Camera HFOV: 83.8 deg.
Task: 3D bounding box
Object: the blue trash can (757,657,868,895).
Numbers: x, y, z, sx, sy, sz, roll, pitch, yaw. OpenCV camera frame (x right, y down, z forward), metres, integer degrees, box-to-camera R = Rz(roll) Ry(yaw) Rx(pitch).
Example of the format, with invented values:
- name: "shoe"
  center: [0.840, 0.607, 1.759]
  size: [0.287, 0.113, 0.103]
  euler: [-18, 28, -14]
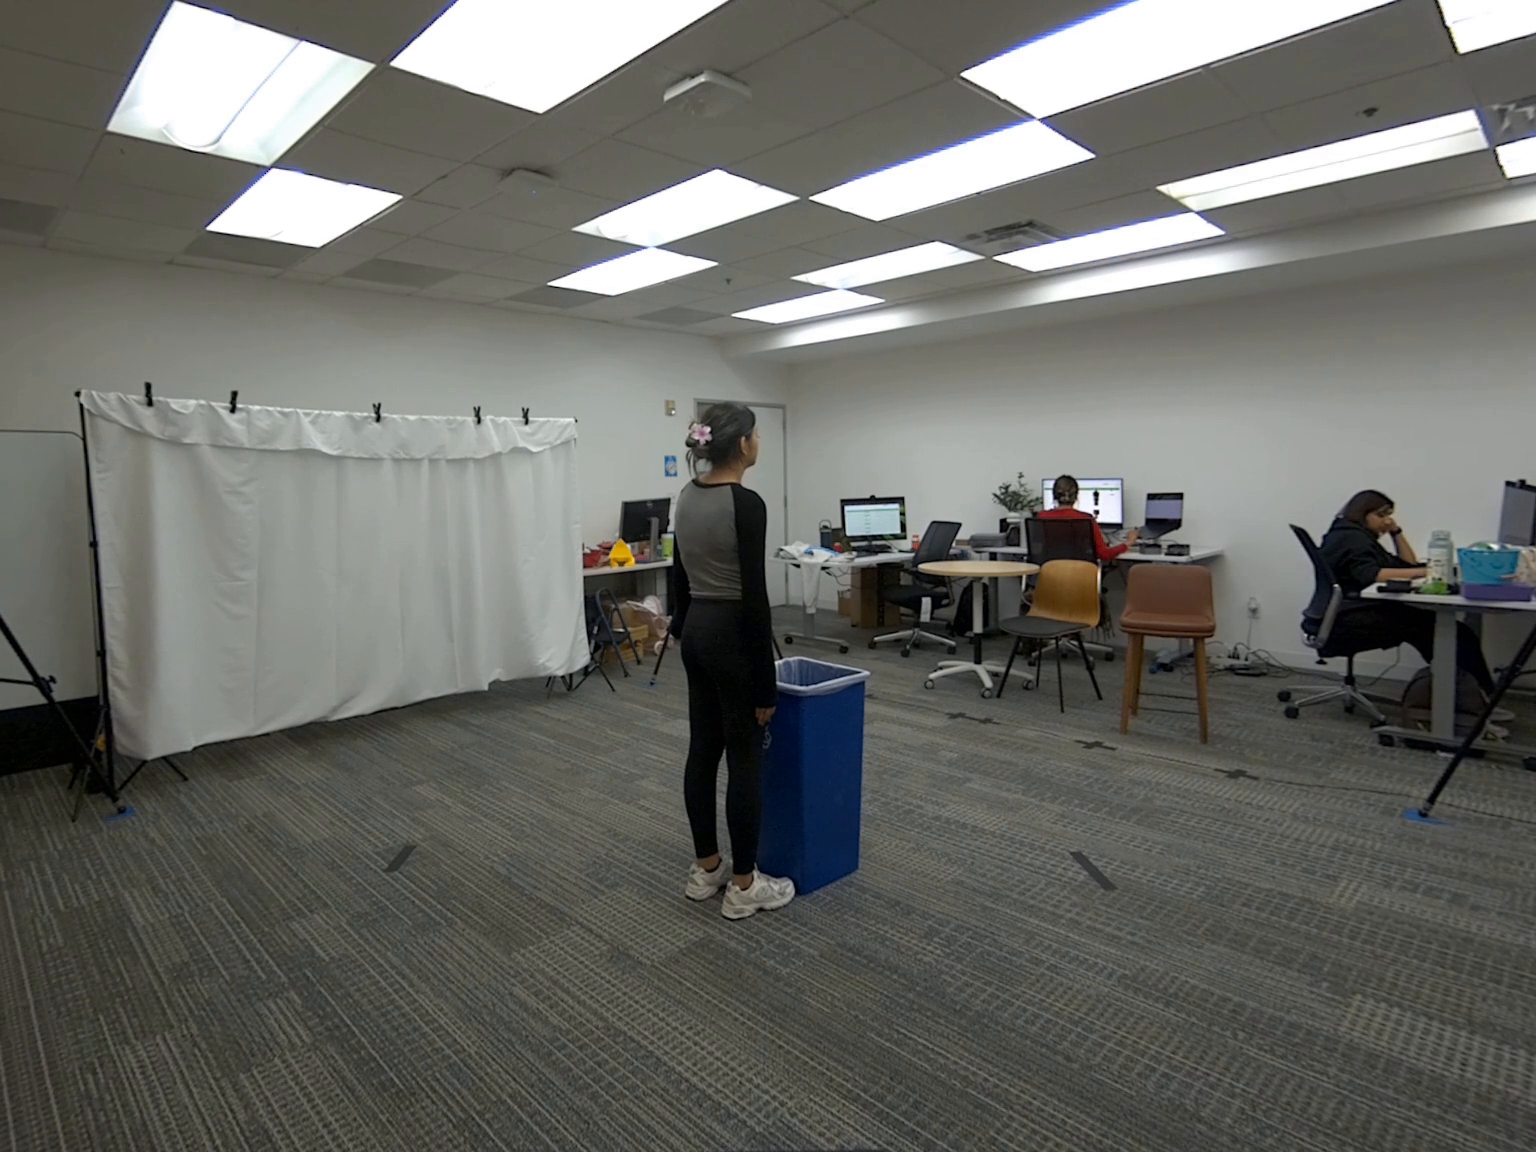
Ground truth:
- name: "blue trash can"
  center: [0.125, 0.690, 3.034]
  size: [0.368, 0.711, 0.385]
  euler: [-5, 5, -44]
